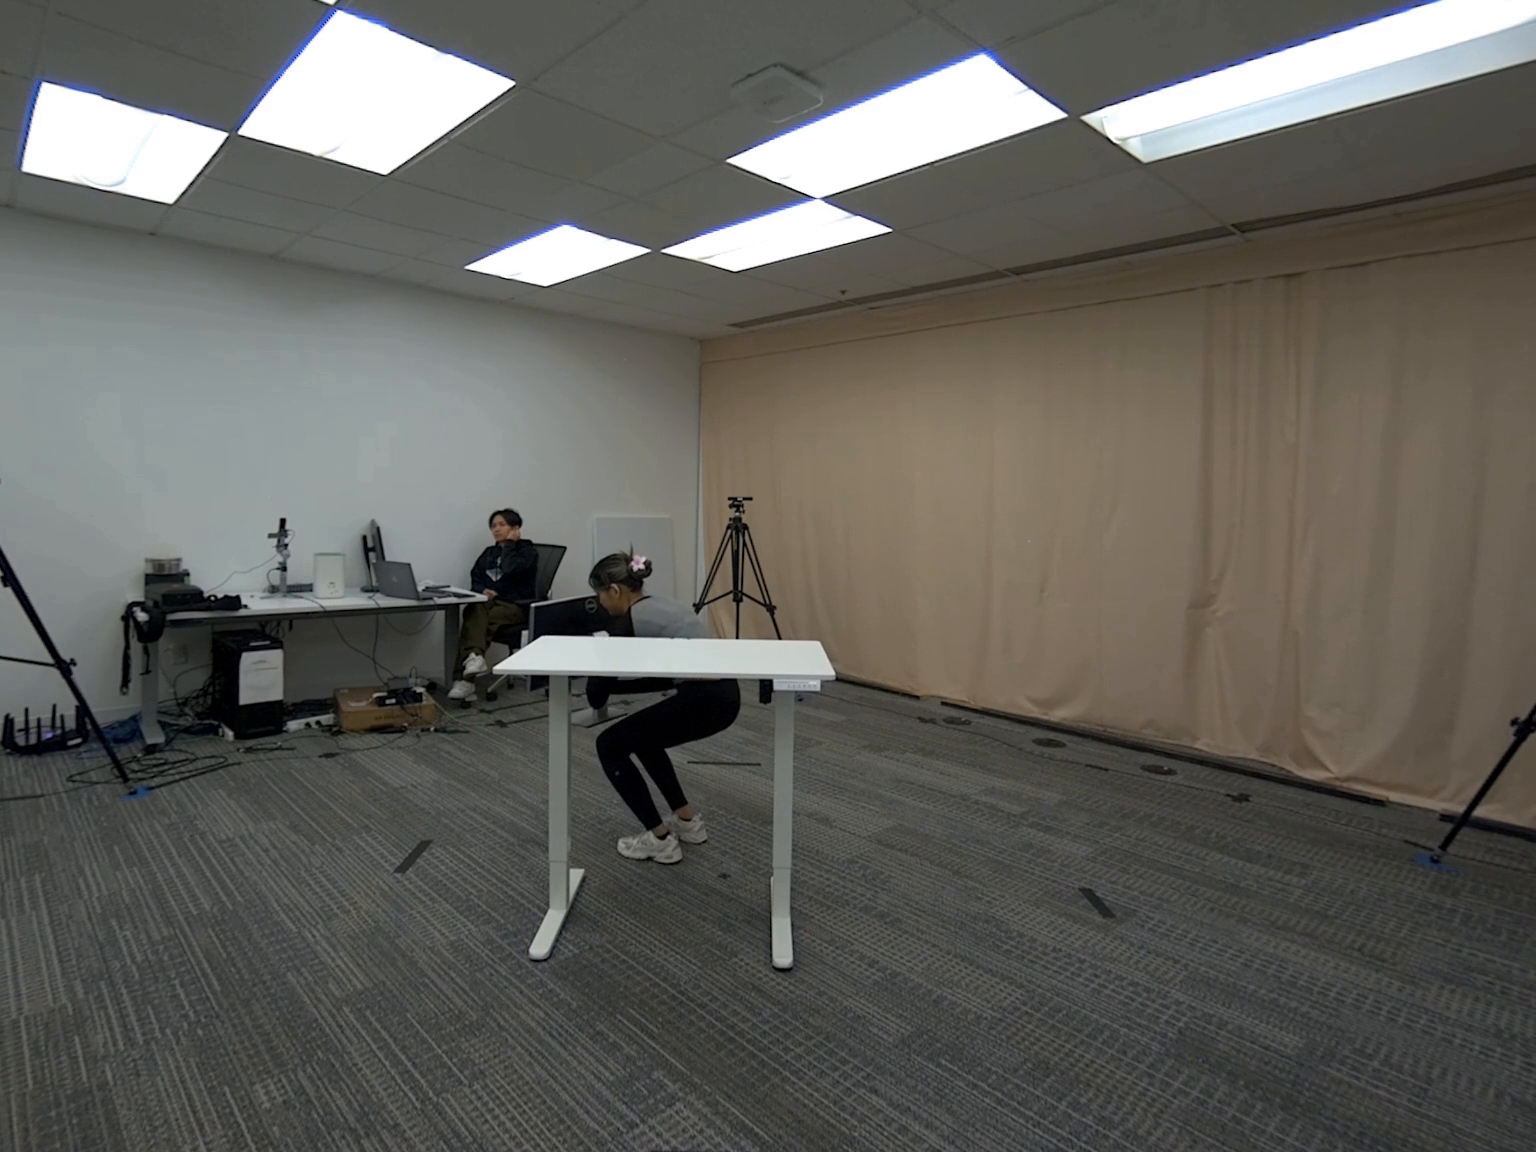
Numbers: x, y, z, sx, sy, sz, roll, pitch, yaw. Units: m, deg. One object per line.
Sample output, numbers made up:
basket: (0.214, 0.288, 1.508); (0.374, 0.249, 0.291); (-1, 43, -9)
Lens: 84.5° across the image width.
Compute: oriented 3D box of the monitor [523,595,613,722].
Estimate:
monitor: (-0.746, 0.348, 3.543); (0.191, 0.520, 0.529); (0, 6, 37)
